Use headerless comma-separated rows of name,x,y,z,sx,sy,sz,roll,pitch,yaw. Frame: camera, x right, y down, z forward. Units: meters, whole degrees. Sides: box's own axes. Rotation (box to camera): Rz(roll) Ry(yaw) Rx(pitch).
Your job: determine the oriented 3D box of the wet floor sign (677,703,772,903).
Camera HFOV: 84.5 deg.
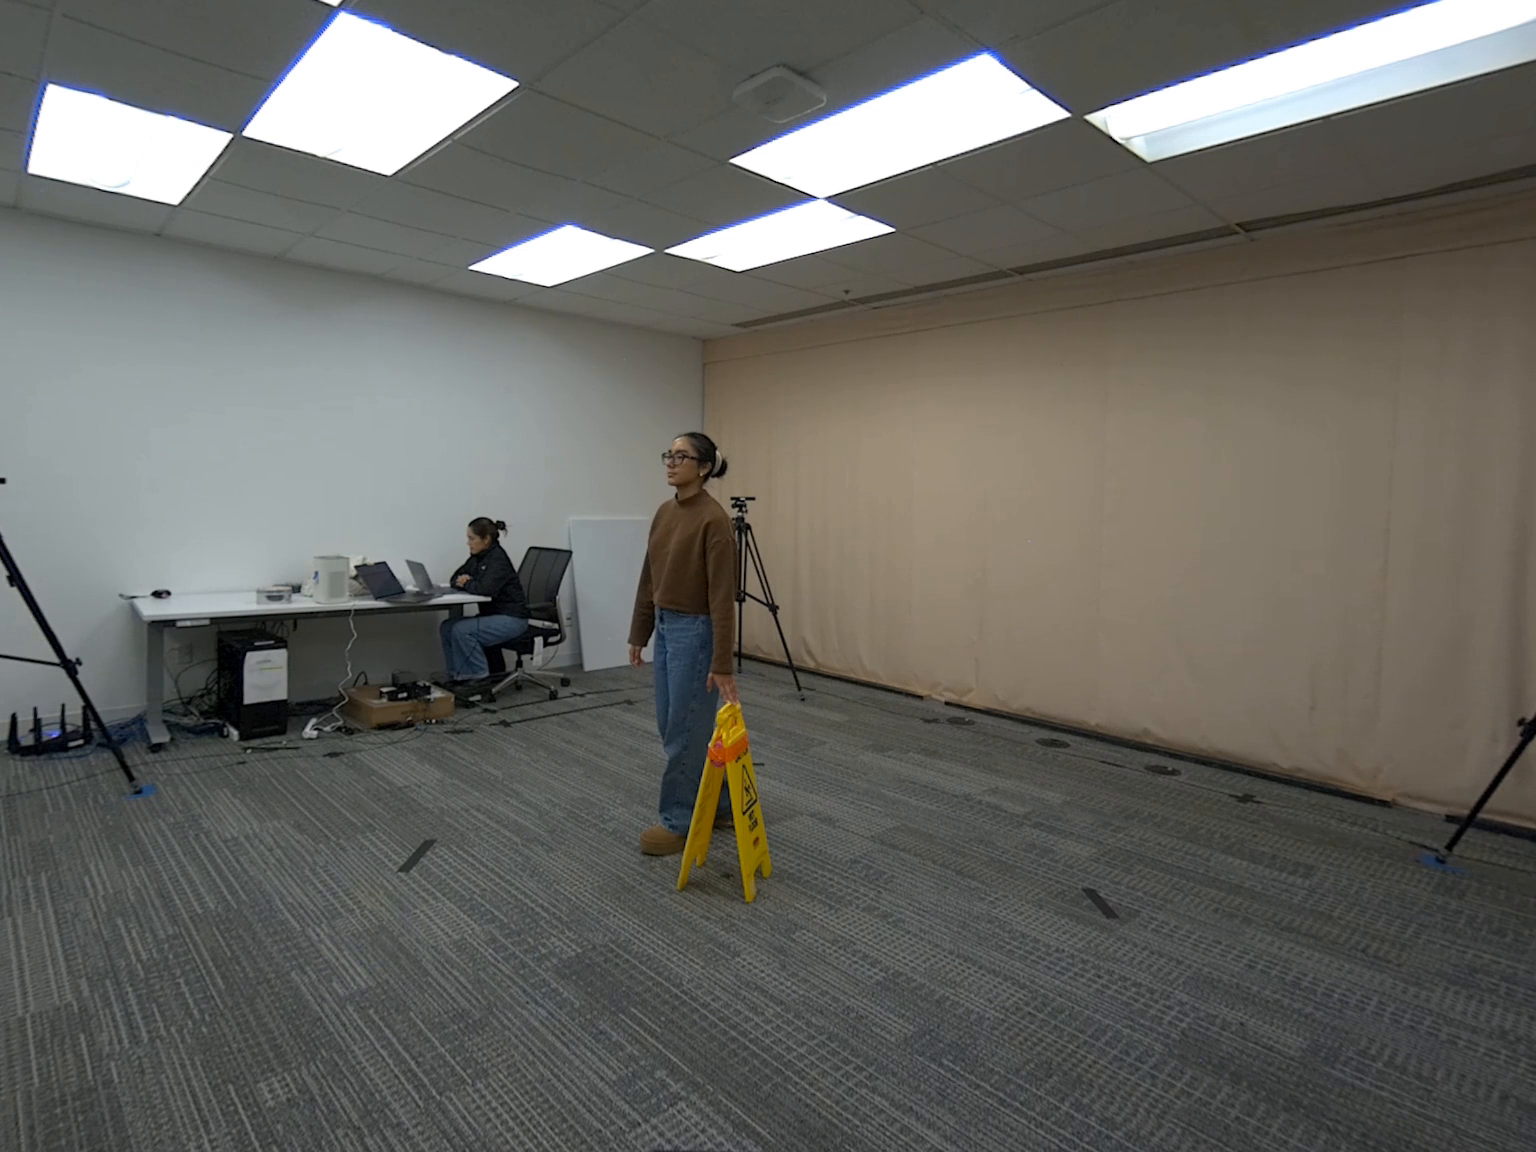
wet floor sign,-0.152,0.789,3.044,0.294,0.644,0.279,3,5,17
